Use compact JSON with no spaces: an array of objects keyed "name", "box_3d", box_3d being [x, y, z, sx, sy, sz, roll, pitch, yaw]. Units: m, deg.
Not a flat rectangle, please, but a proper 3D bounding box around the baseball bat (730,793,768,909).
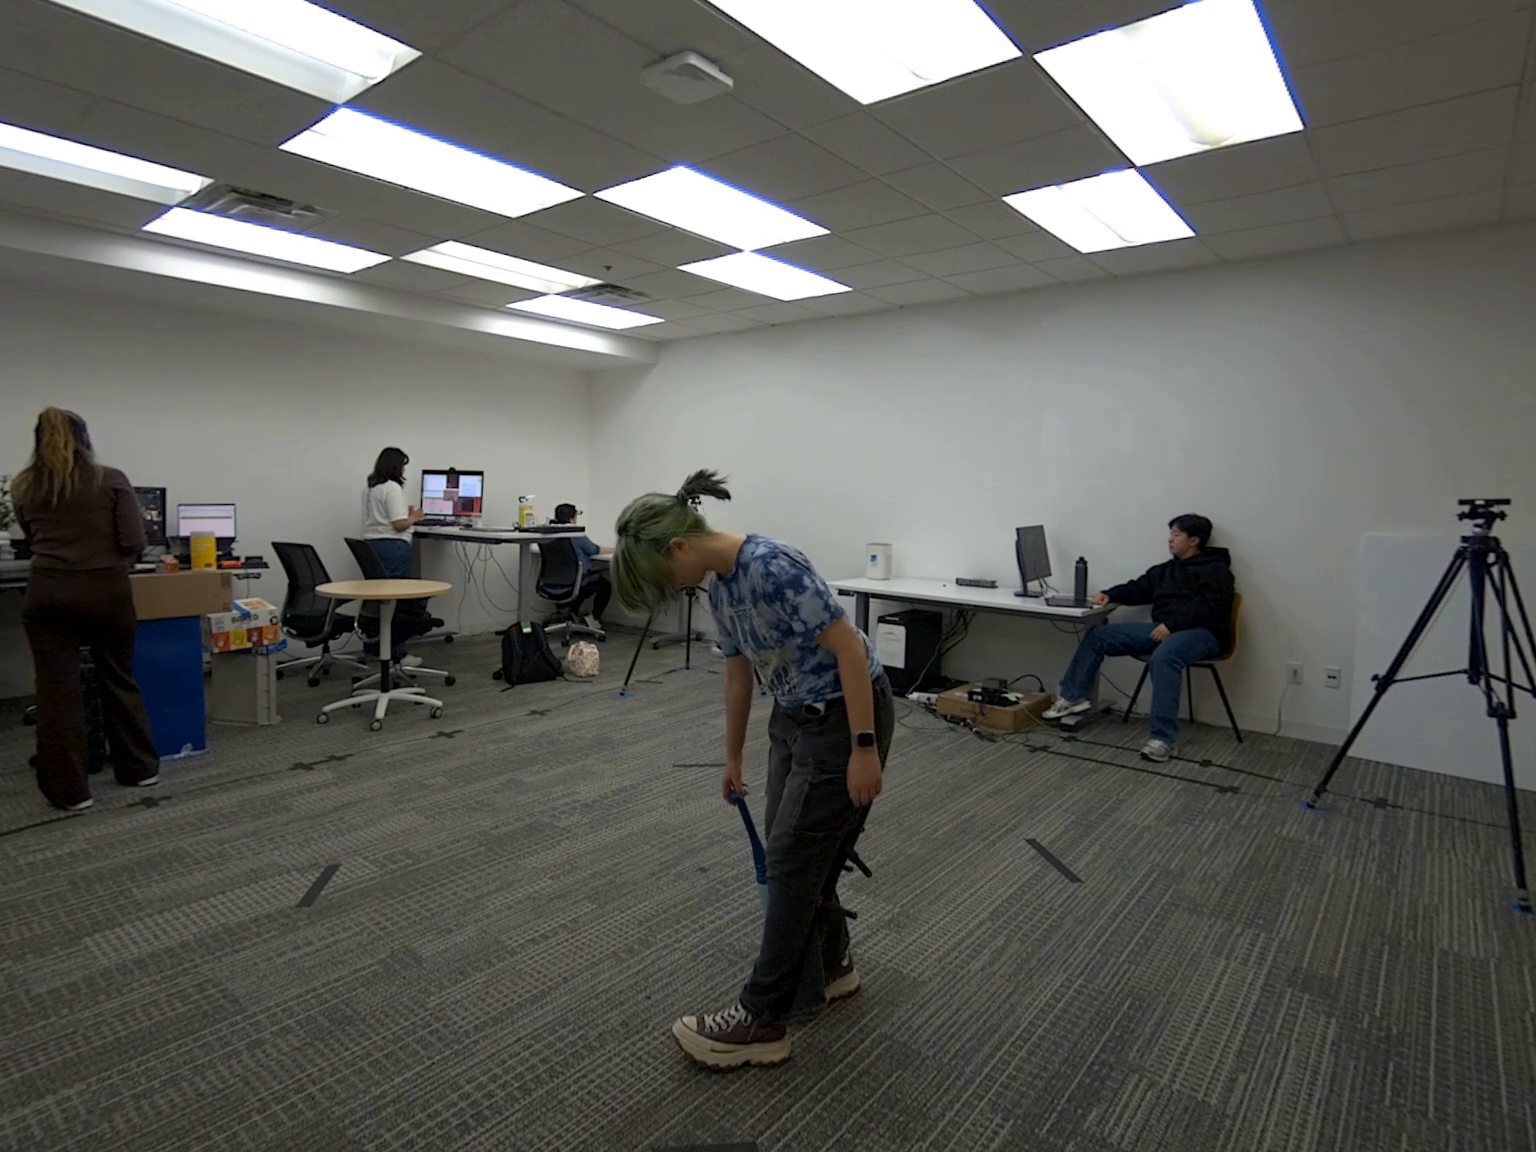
[{"name":"baseball bat","box_3d":[-0.015,0.871,2.501,0.089,0.535,0.090,-17,11,2]}]
